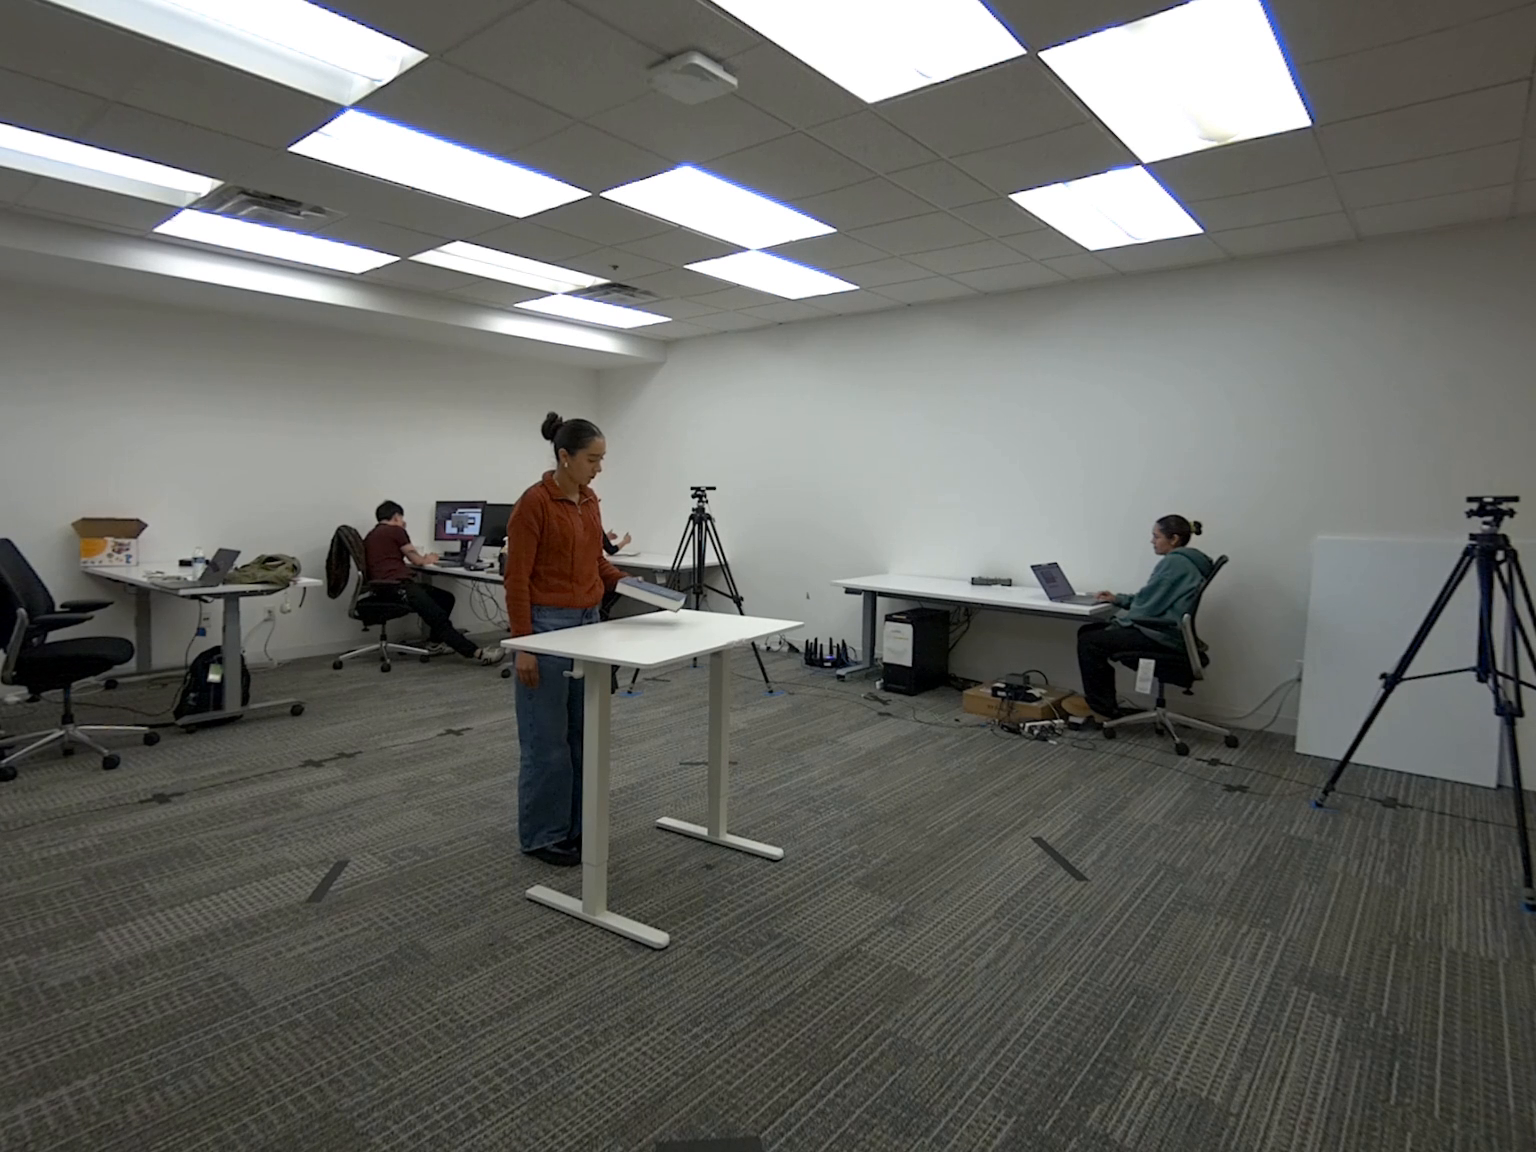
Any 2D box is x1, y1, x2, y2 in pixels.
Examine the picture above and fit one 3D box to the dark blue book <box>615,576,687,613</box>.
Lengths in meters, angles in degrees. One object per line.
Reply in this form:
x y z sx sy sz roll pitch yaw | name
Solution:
-0.444 0.063 3.165 0.245 0.045 0.164 16 6 -1 | dark blue book
